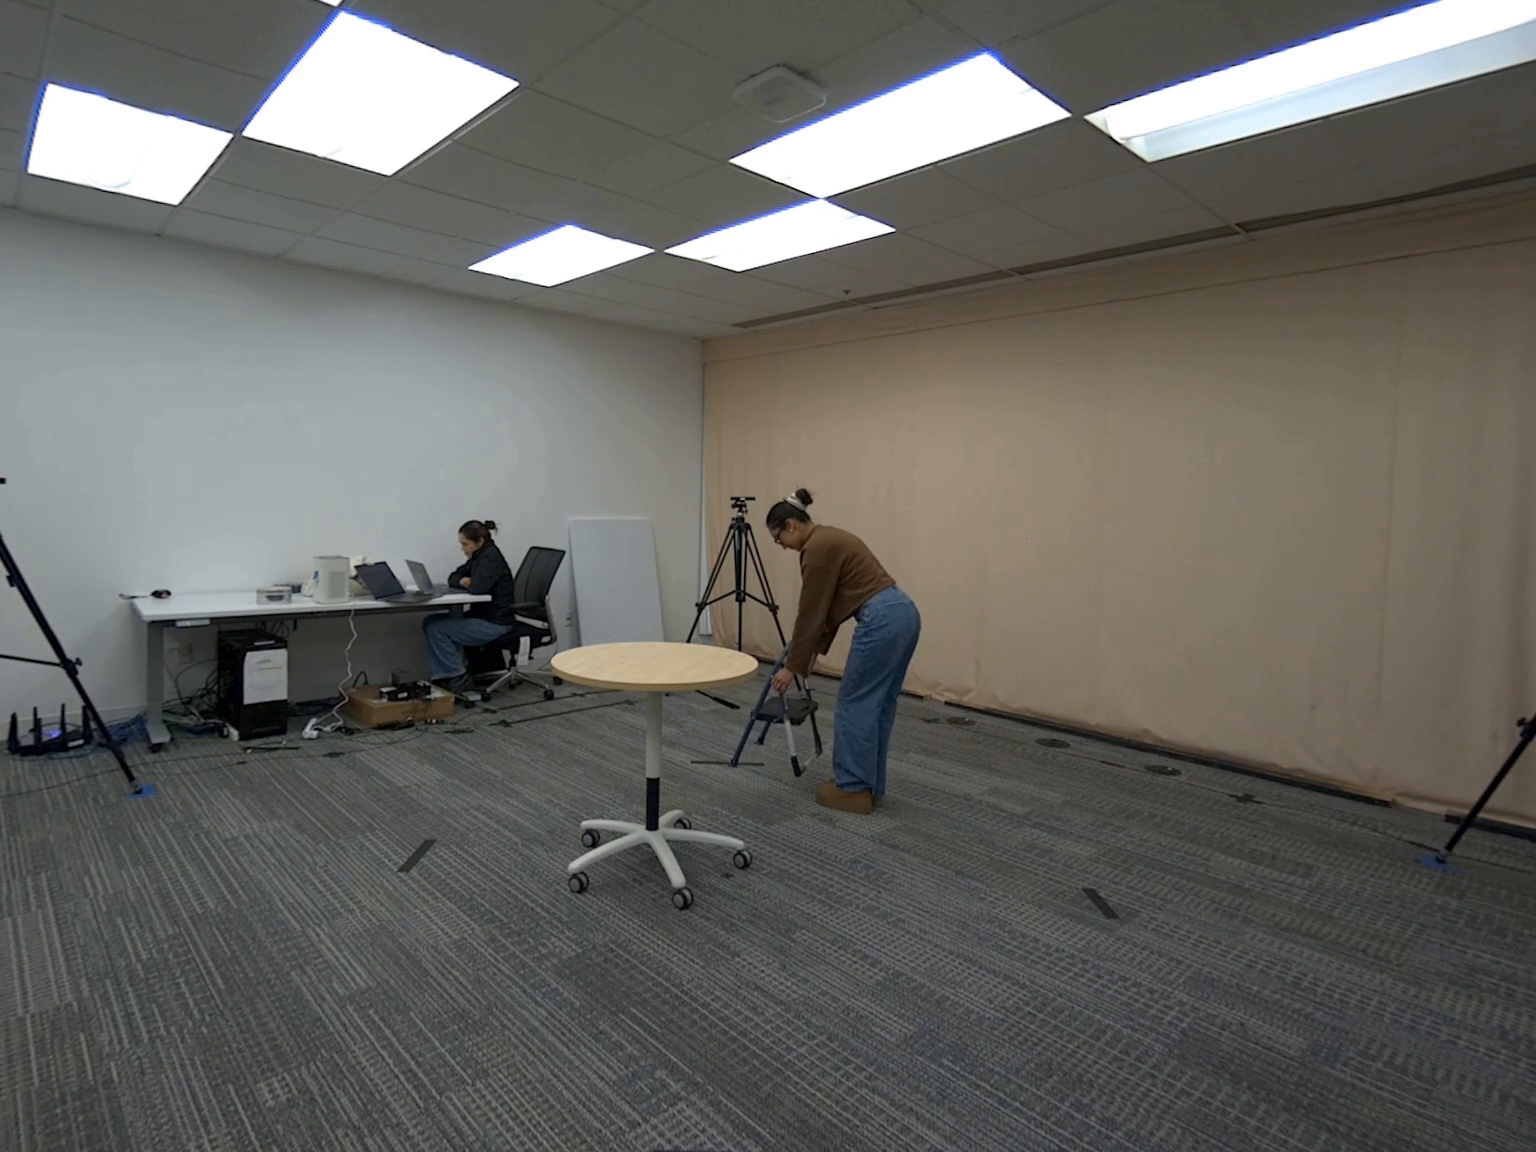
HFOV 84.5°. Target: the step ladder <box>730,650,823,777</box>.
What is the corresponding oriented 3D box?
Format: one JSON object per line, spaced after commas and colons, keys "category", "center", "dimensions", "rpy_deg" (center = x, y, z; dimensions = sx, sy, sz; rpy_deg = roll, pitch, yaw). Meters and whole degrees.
{"category": "step ladder", "center": [0.055, 0.579, 4.016], "dimensions": [0.355, 0.604, 0.425], "rpy_deg": [4, 4, 18]}
